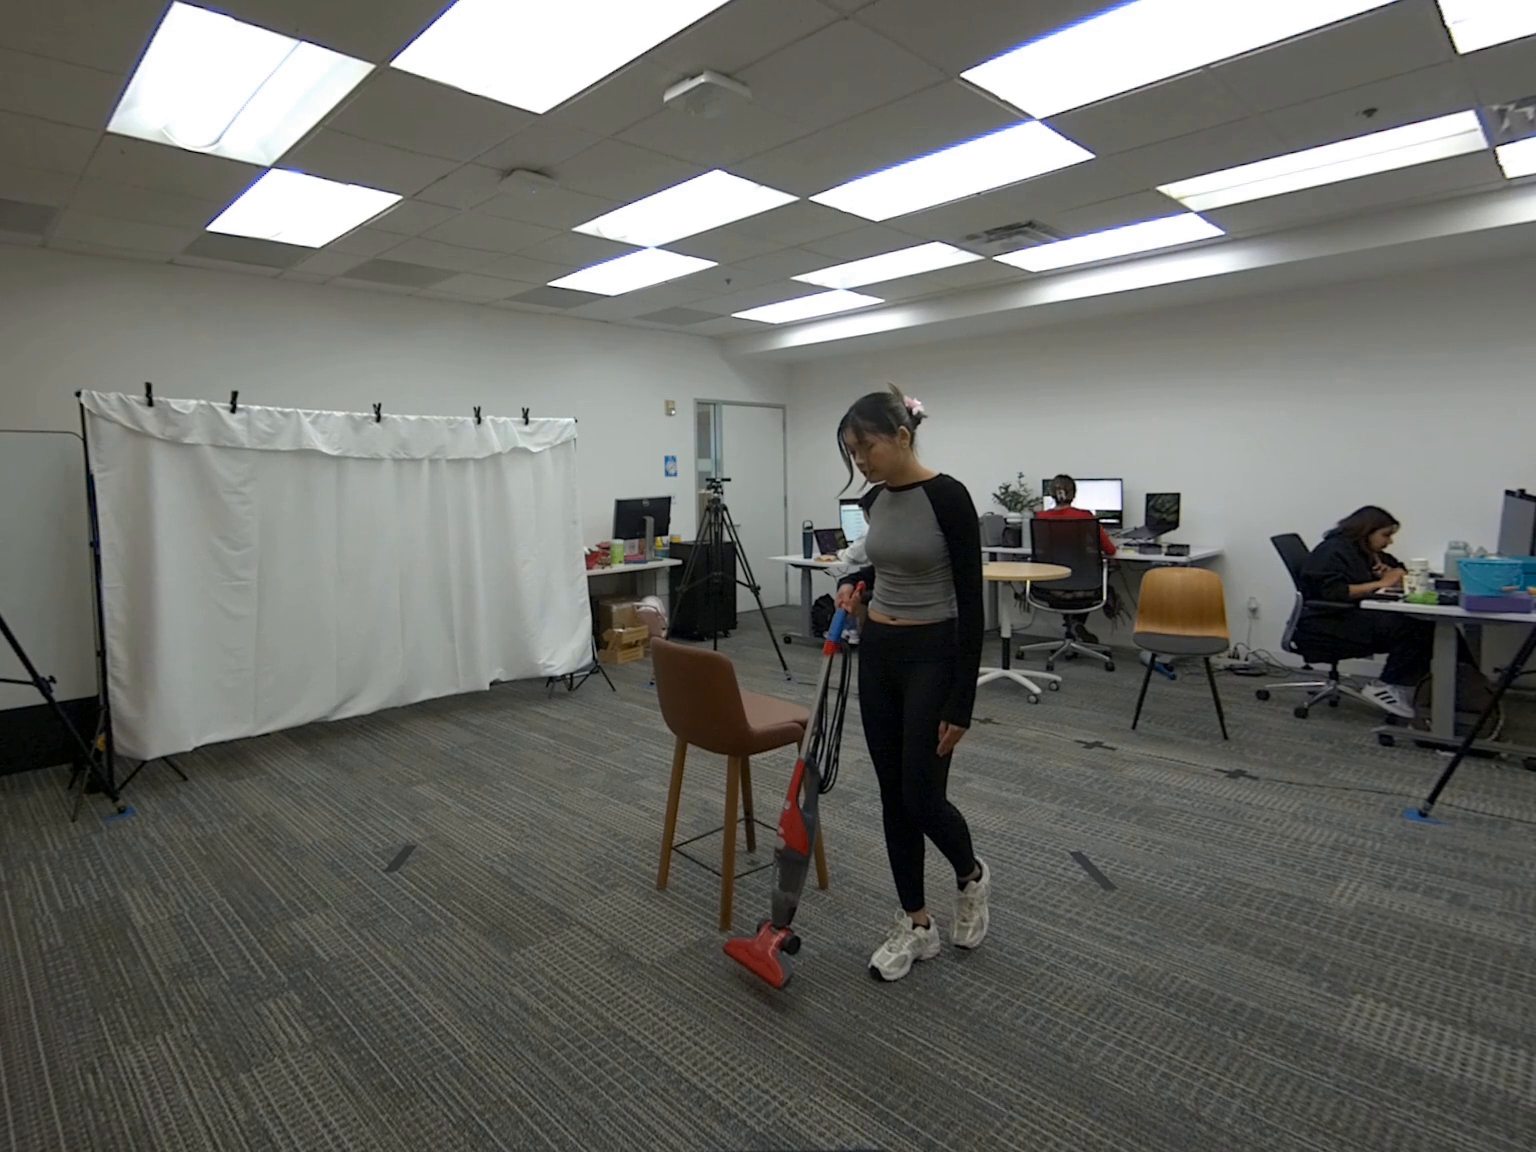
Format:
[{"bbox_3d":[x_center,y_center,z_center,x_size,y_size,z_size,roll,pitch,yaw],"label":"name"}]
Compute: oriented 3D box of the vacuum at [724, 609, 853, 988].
[{"bbox_3d":[0.142,0.537,2.424,0.139,1.057,0.260,23,-15,-38],"label":"vacuum"}]
